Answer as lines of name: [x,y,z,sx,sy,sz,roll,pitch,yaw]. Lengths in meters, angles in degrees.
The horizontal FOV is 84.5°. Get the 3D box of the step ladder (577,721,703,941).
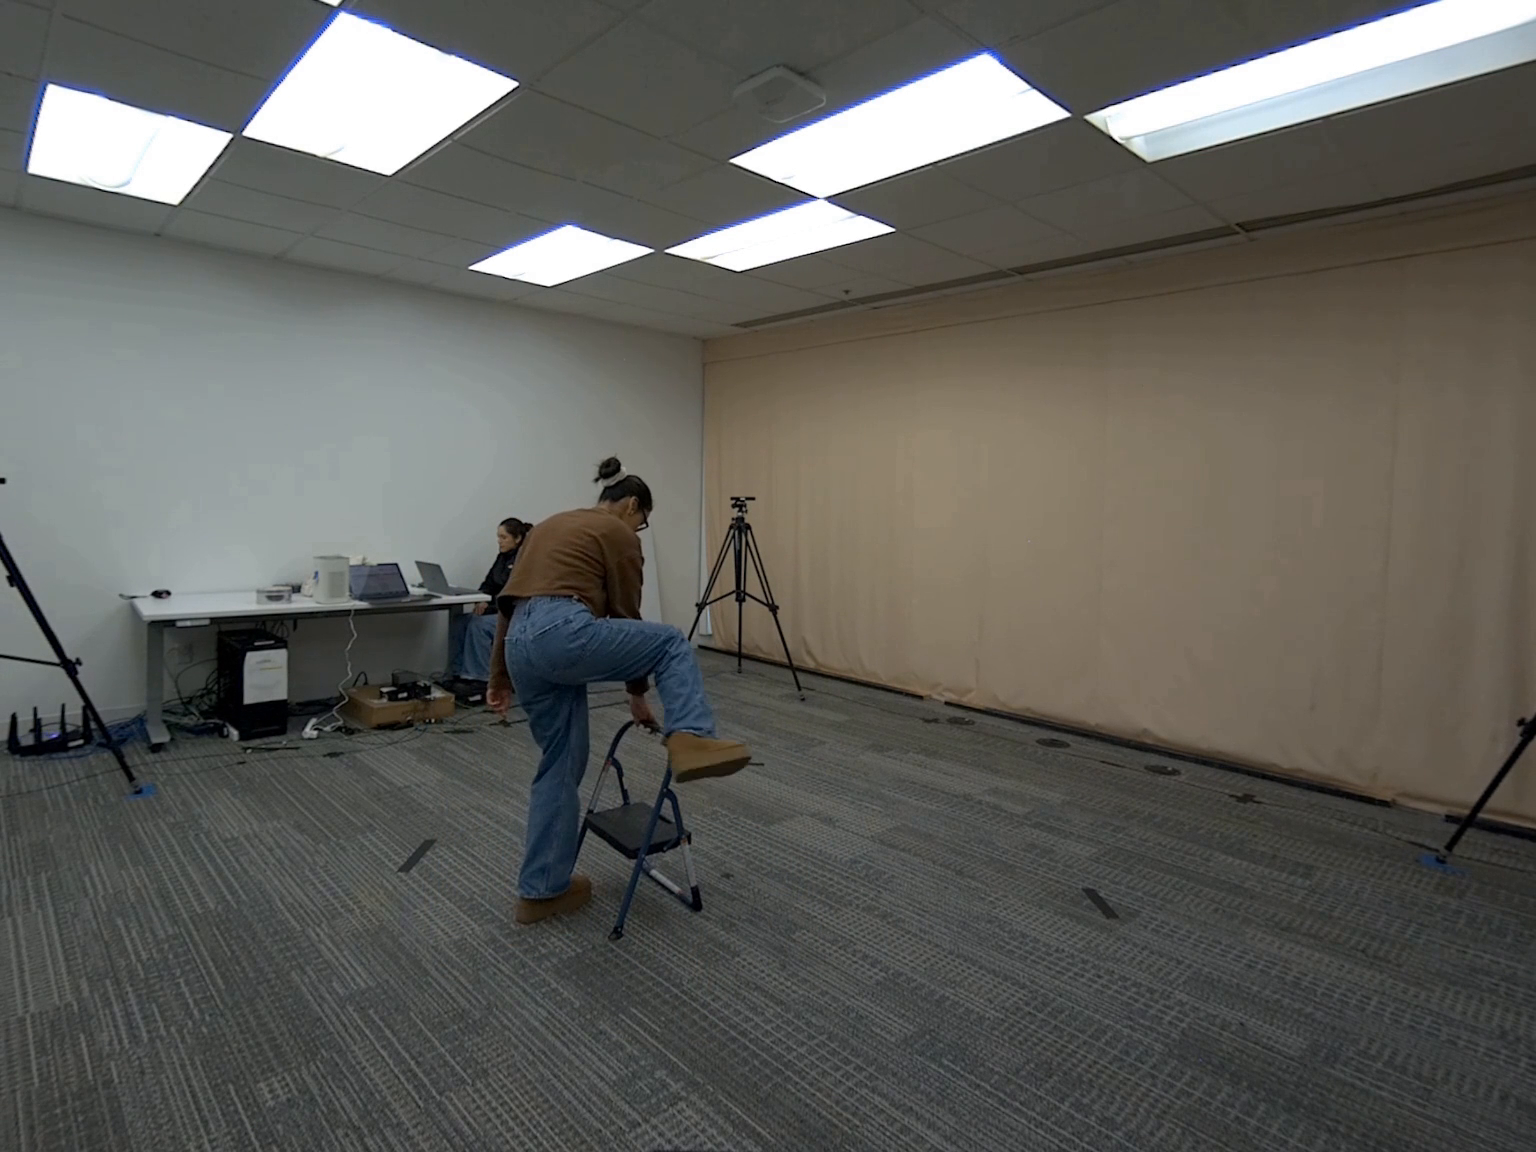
step ladder: [-0.475,0.818,2.888,0.341,0.605,0.441,-1,4,-38]
